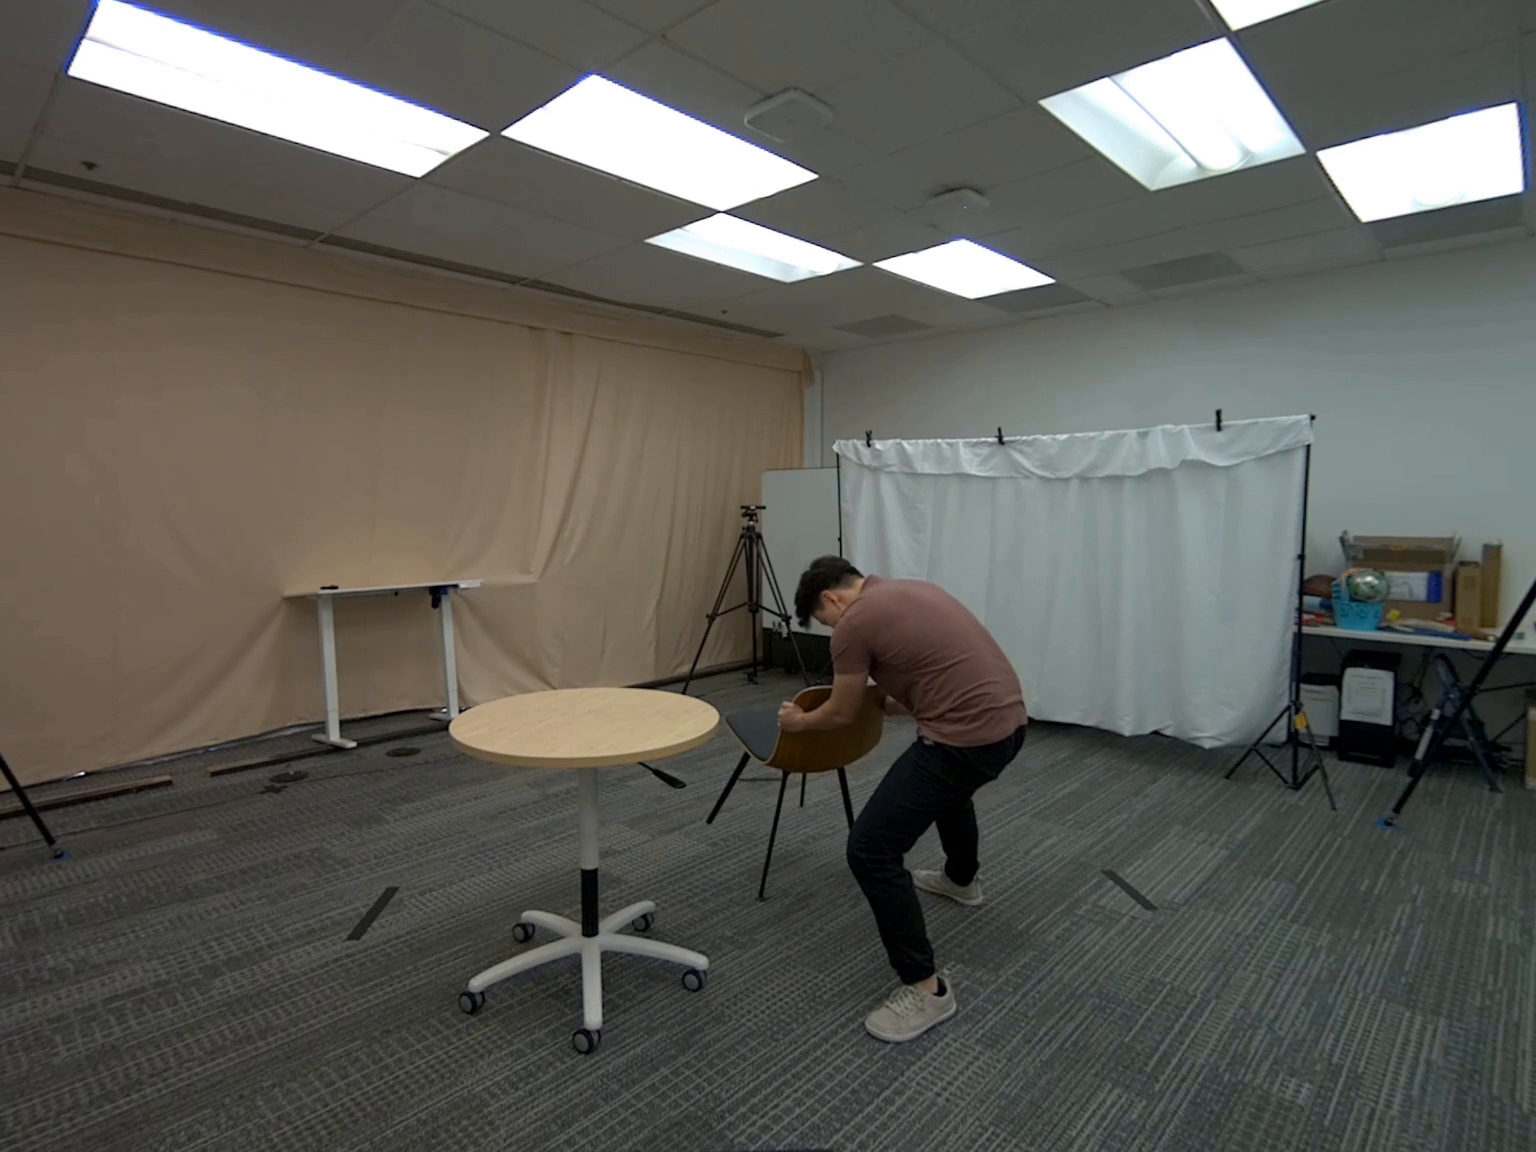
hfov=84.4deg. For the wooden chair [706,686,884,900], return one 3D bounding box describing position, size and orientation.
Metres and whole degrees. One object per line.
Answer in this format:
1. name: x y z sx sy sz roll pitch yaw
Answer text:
1. wooden chair: 0.114 0.655 3.153 0.466 0.870 0.541 -2 24 -29
